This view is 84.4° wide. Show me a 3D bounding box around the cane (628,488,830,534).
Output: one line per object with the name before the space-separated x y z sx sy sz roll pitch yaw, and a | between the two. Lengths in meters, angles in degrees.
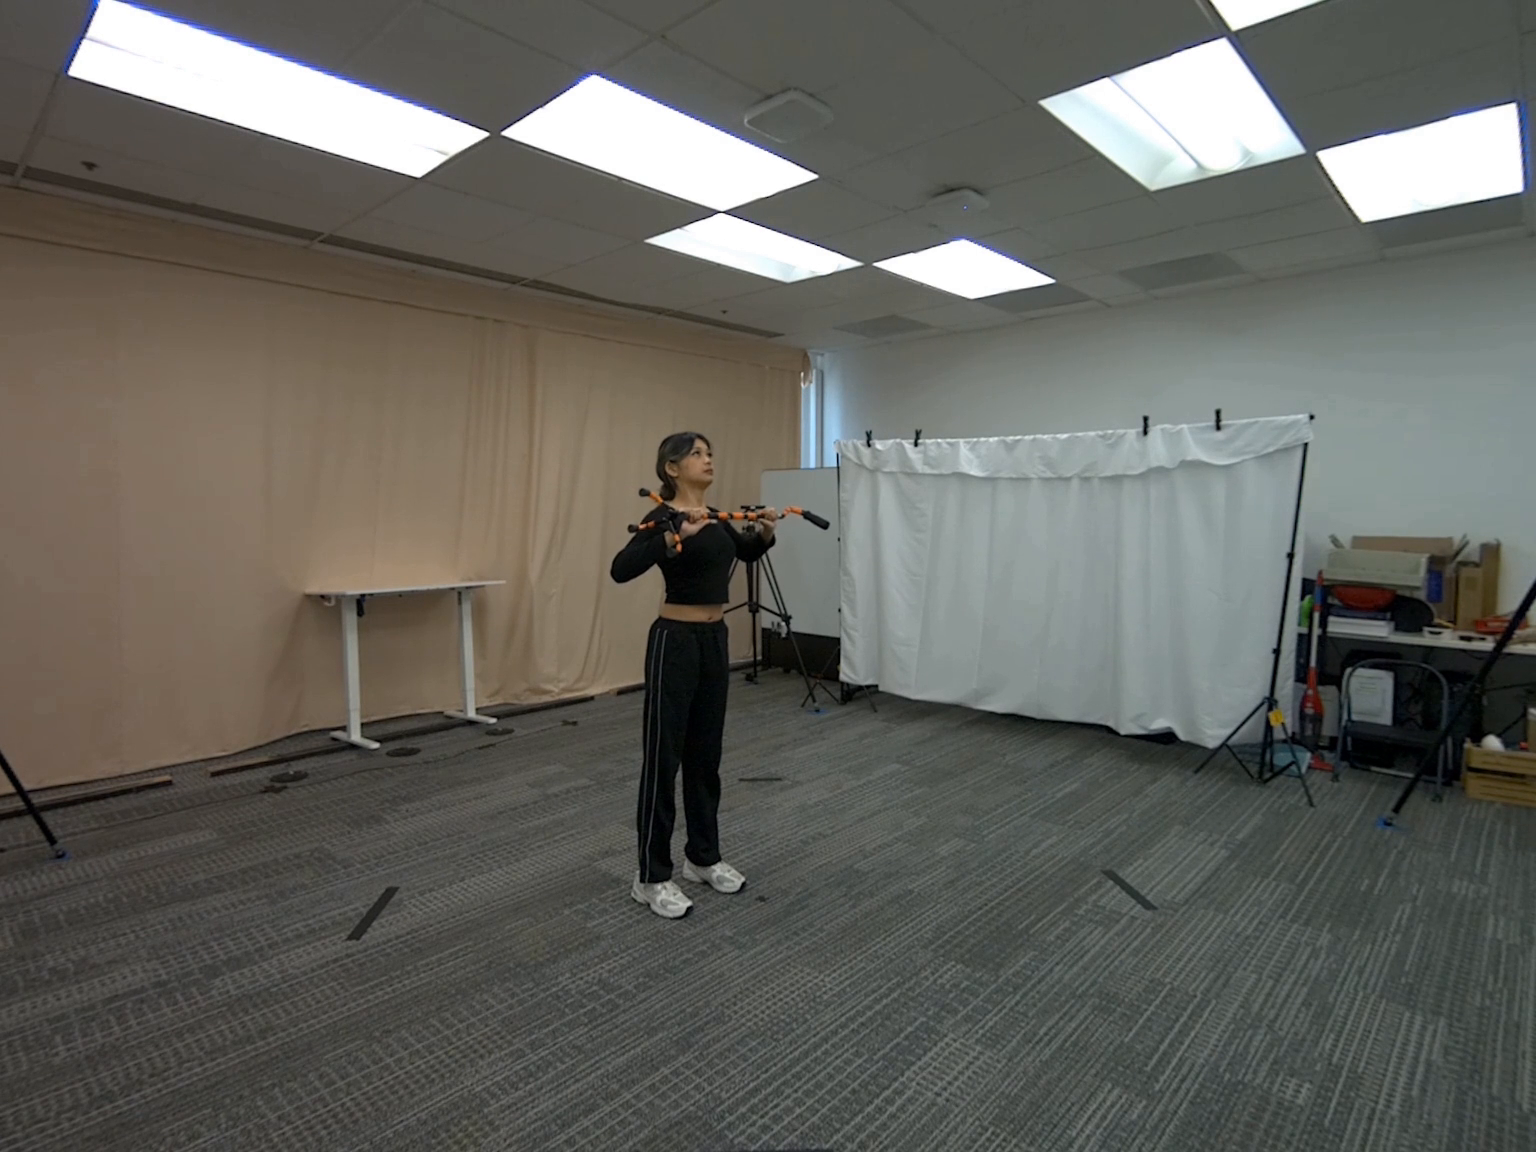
cane | -0.086 -0.199 2.937 0.213 0.151 0.881 32 21 30
